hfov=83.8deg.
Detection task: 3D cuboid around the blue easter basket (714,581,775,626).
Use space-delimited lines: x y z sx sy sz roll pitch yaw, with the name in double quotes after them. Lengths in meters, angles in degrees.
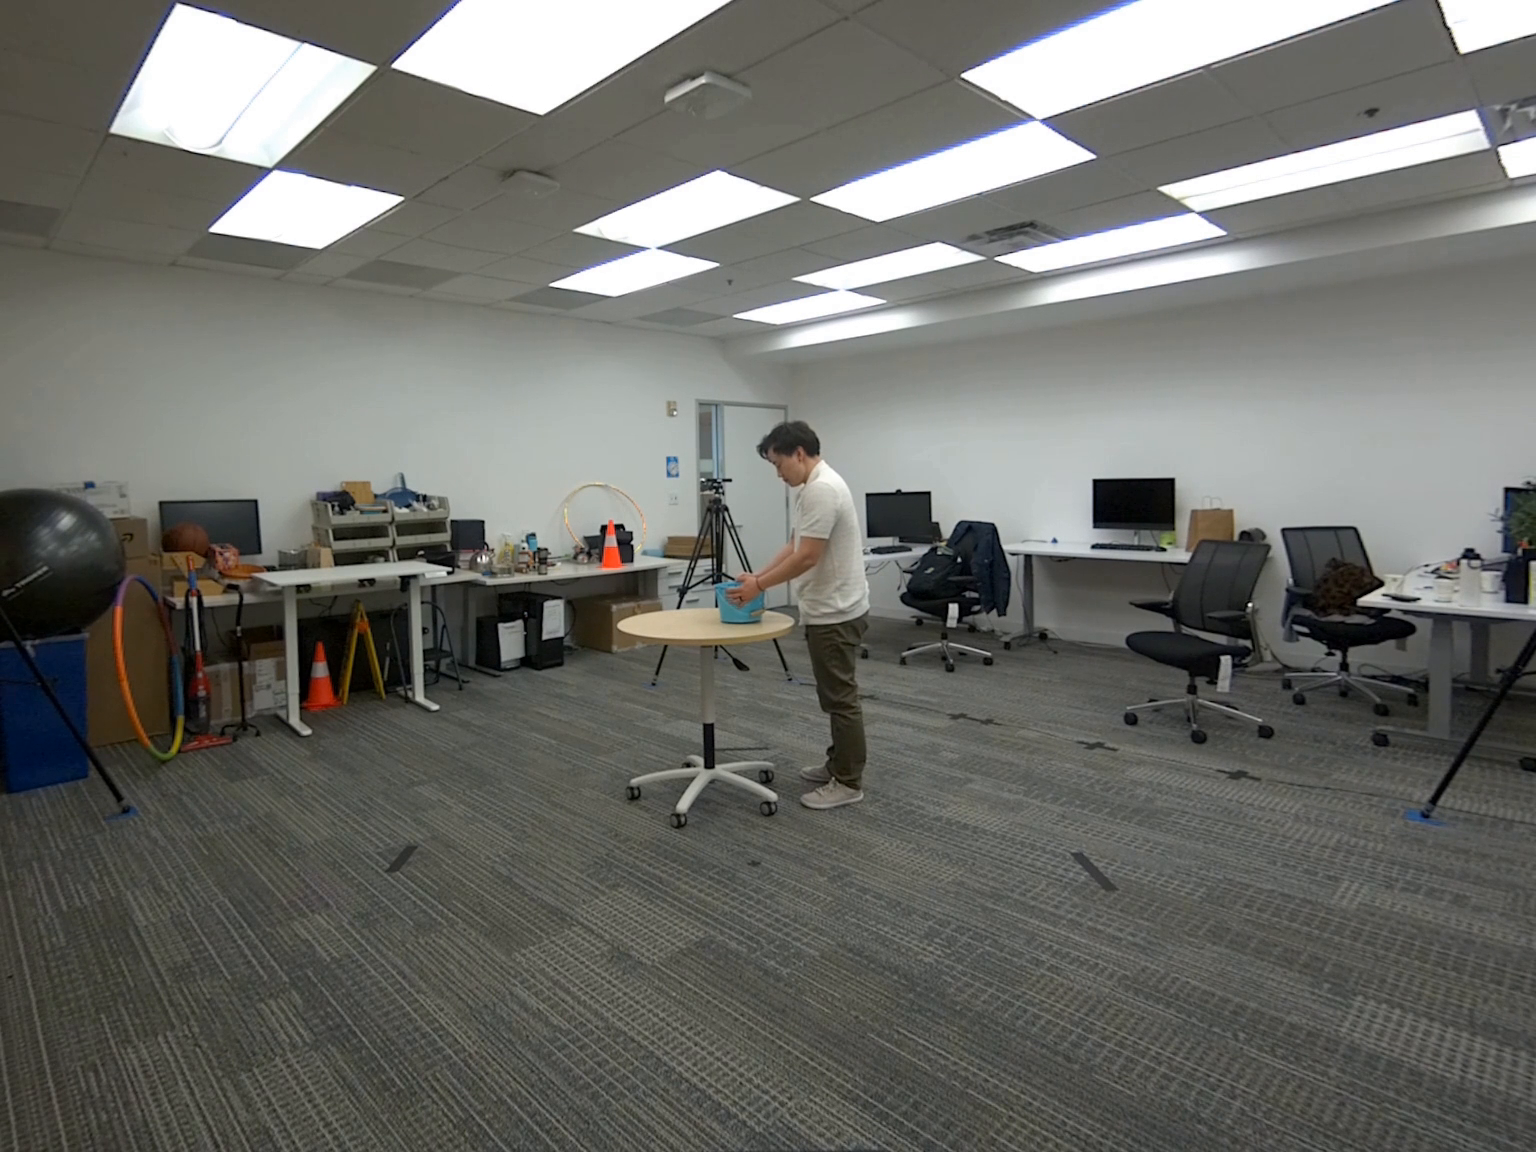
-0.108 0.112 3.705 0.243 0.155 0.245 -2 4 -2 "blue easter basket"
